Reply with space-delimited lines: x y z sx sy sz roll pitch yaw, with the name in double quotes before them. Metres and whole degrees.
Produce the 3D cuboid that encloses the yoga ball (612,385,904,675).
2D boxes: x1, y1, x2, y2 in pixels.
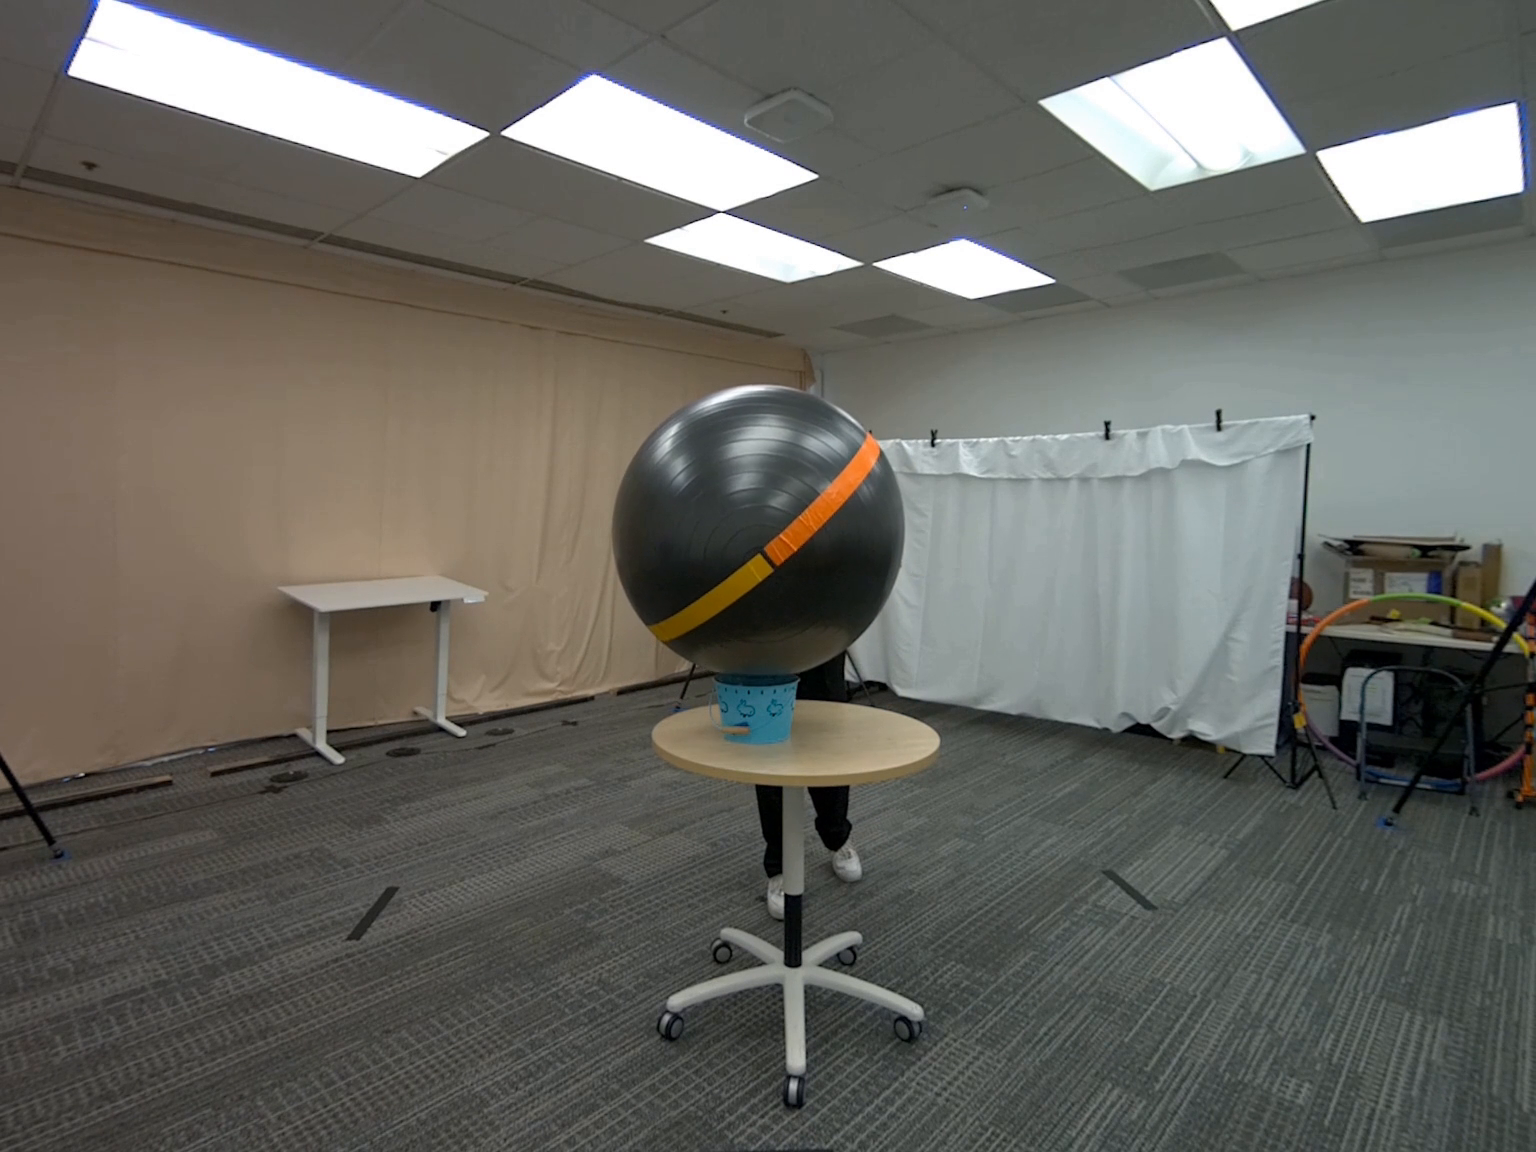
"yoga ball" -0.025 -0.117 2.192 0.757 0.756 0.760 0 4 -2
